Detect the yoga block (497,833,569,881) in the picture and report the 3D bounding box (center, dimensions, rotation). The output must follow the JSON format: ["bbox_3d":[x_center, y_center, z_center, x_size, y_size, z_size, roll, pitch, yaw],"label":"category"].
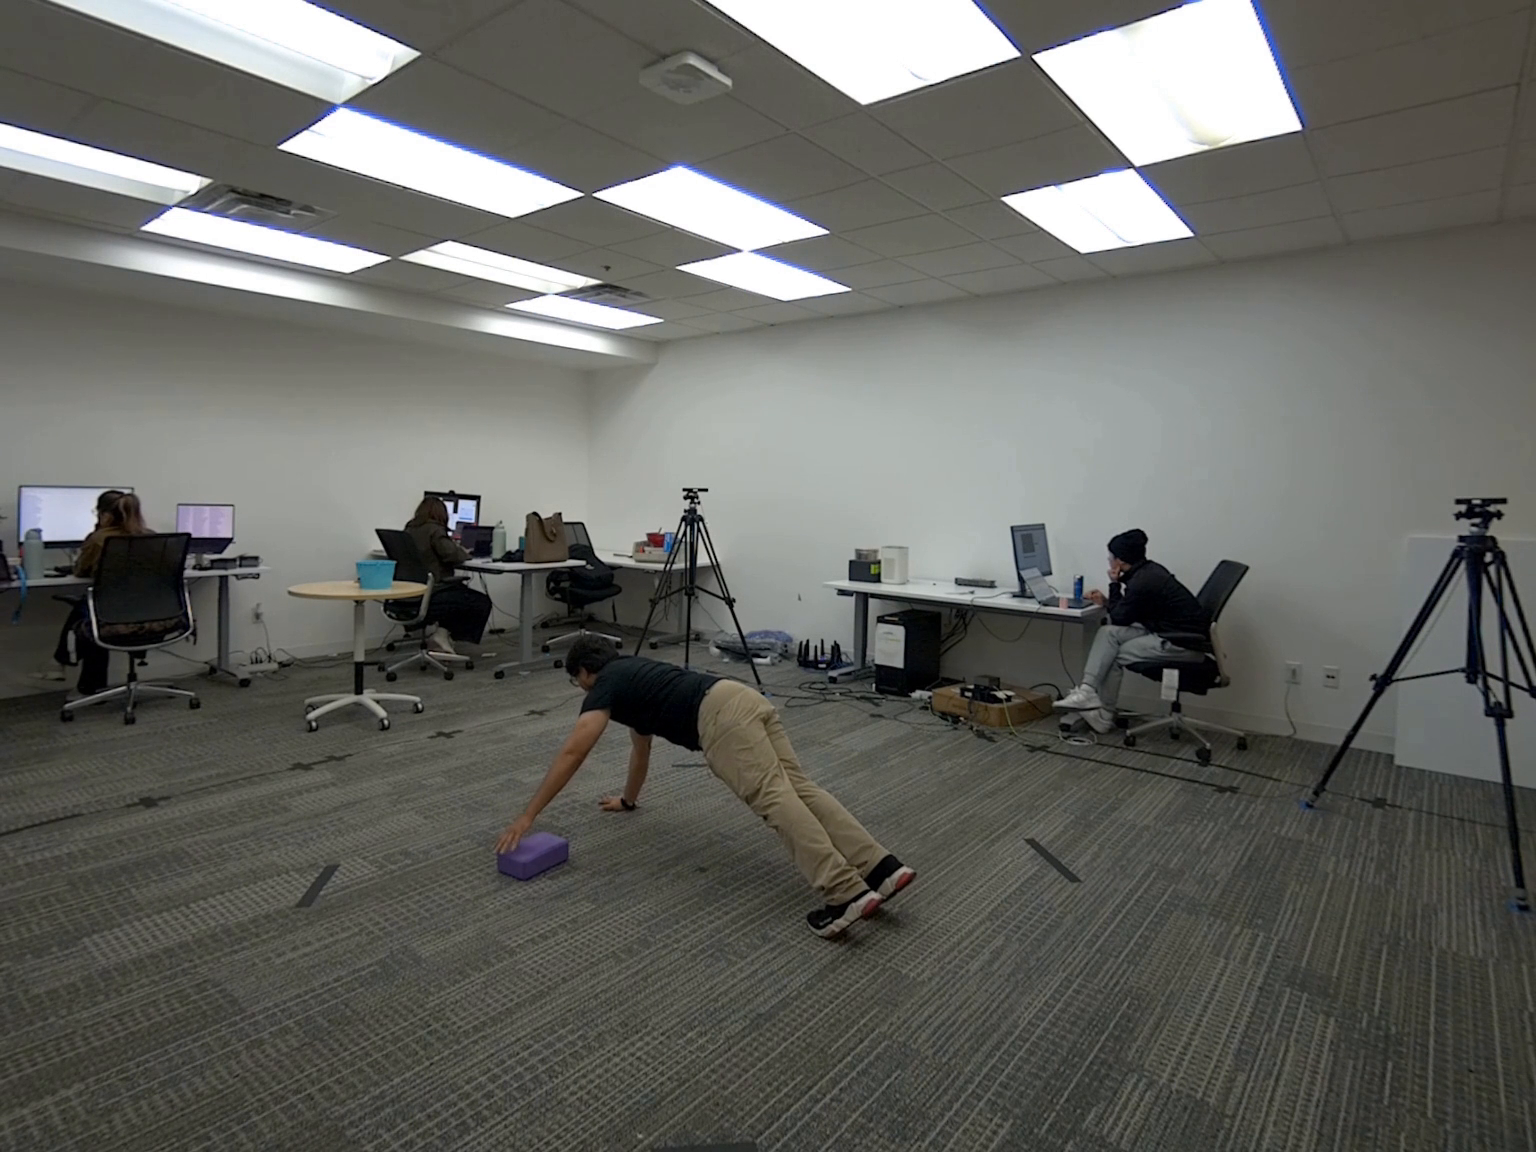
[{"bbox_3d":[-0.872,1.017,3.115,0.153,0.076,0.223,4,6,33],"label":"yoga block"}]
